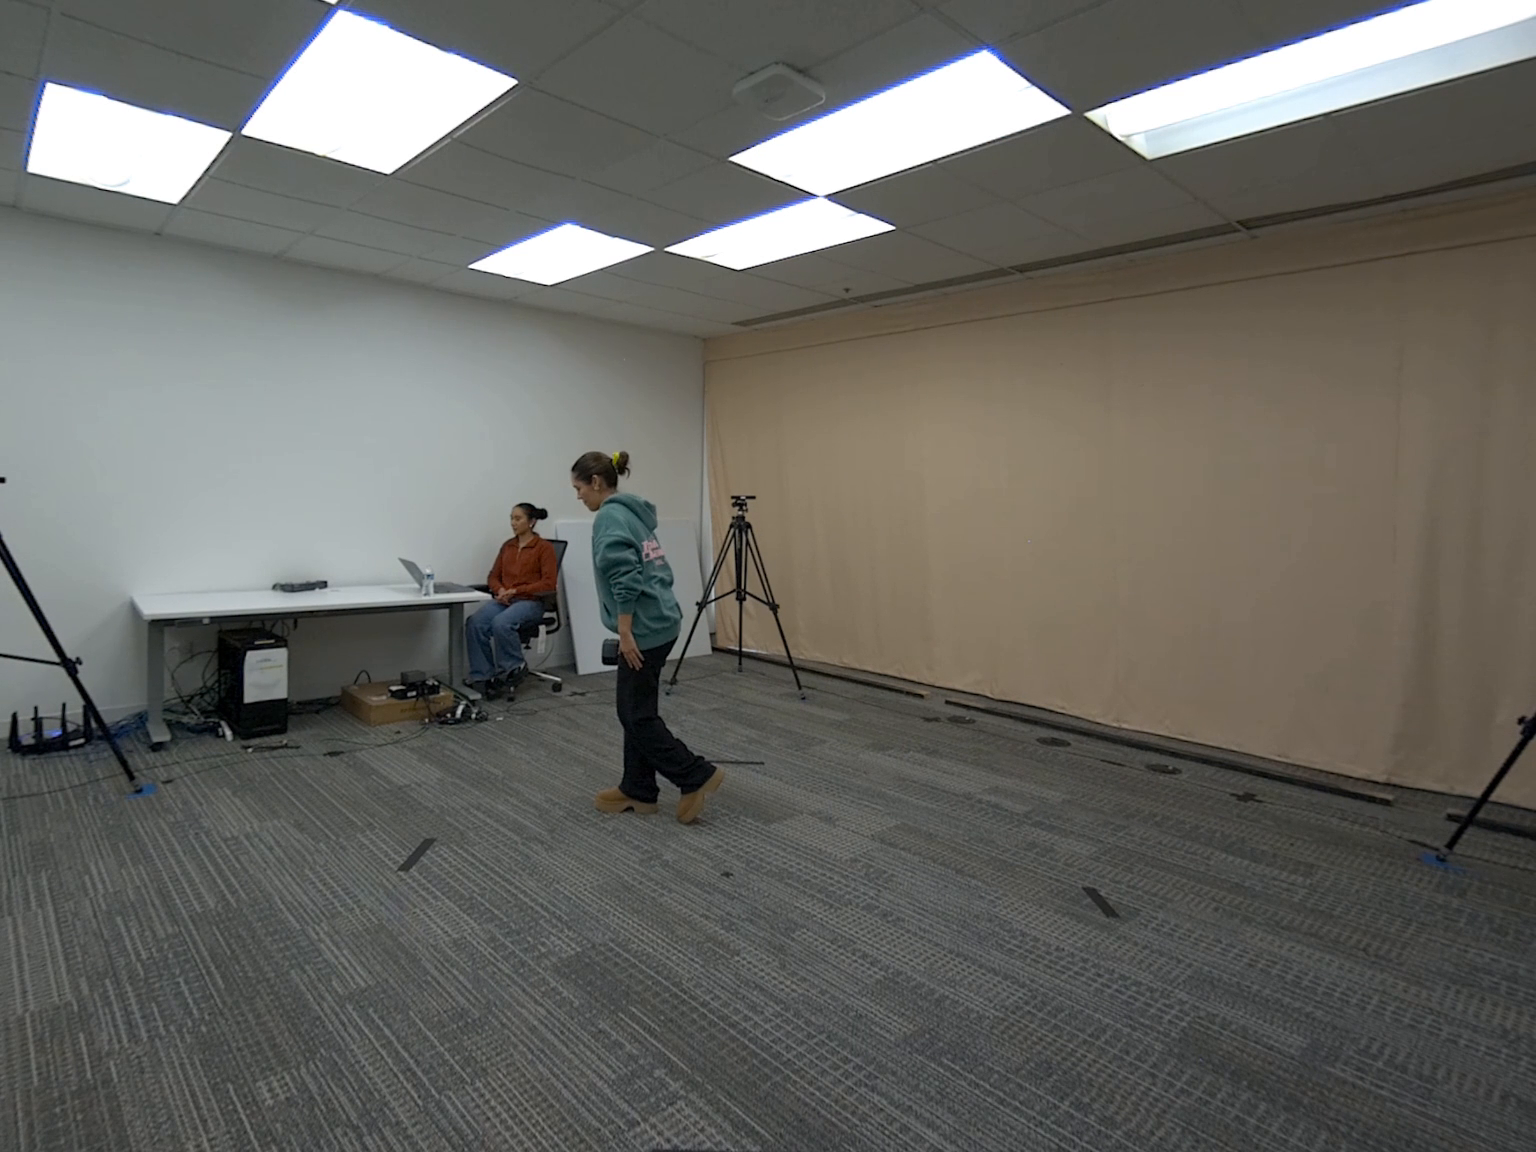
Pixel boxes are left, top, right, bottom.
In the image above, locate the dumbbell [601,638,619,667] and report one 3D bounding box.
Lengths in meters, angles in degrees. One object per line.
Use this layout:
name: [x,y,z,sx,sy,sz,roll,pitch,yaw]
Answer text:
dumbbell: [-0.622,0.354,3.860,0.292,0.124,0.108,3,-15,-5]
